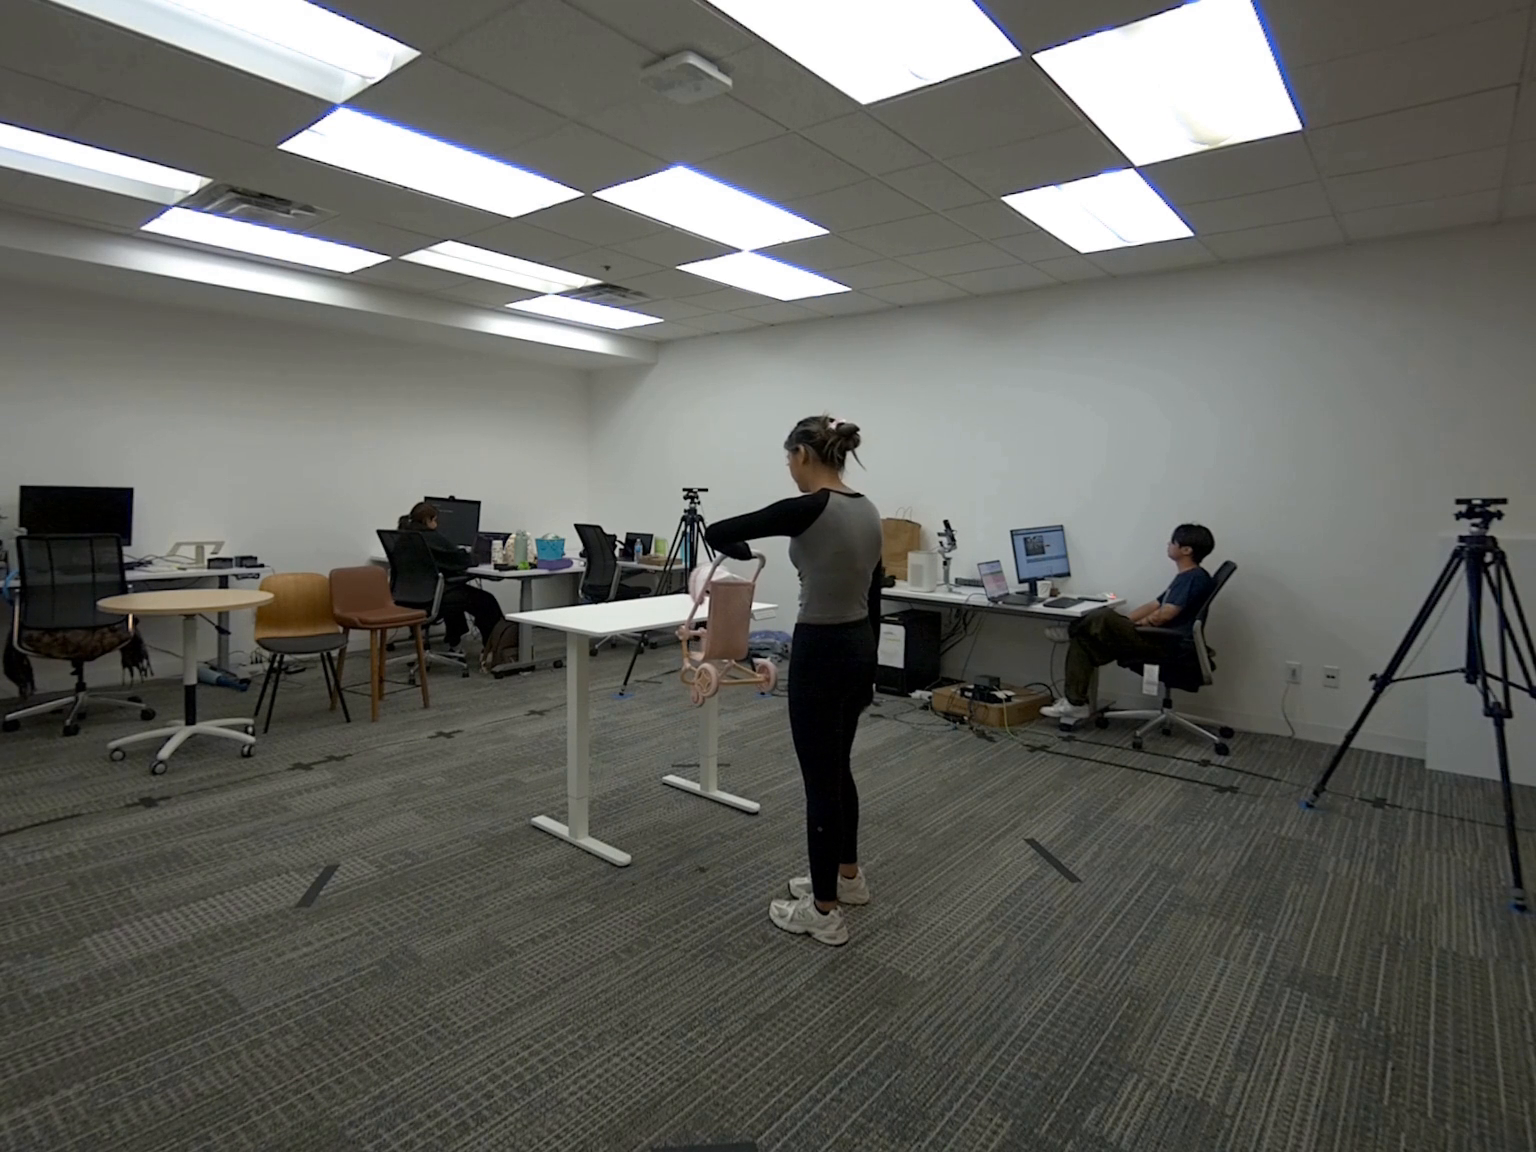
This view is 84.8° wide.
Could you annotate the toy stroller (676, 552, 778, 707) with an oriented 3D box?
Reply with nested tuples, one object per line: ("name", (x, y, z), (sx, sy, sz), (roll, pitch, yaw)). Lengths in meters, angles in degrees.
("toy stroller", (-0.175, 0.187, 2.919), (0.273, 0.538, 0.350), (2, -6, -33))
